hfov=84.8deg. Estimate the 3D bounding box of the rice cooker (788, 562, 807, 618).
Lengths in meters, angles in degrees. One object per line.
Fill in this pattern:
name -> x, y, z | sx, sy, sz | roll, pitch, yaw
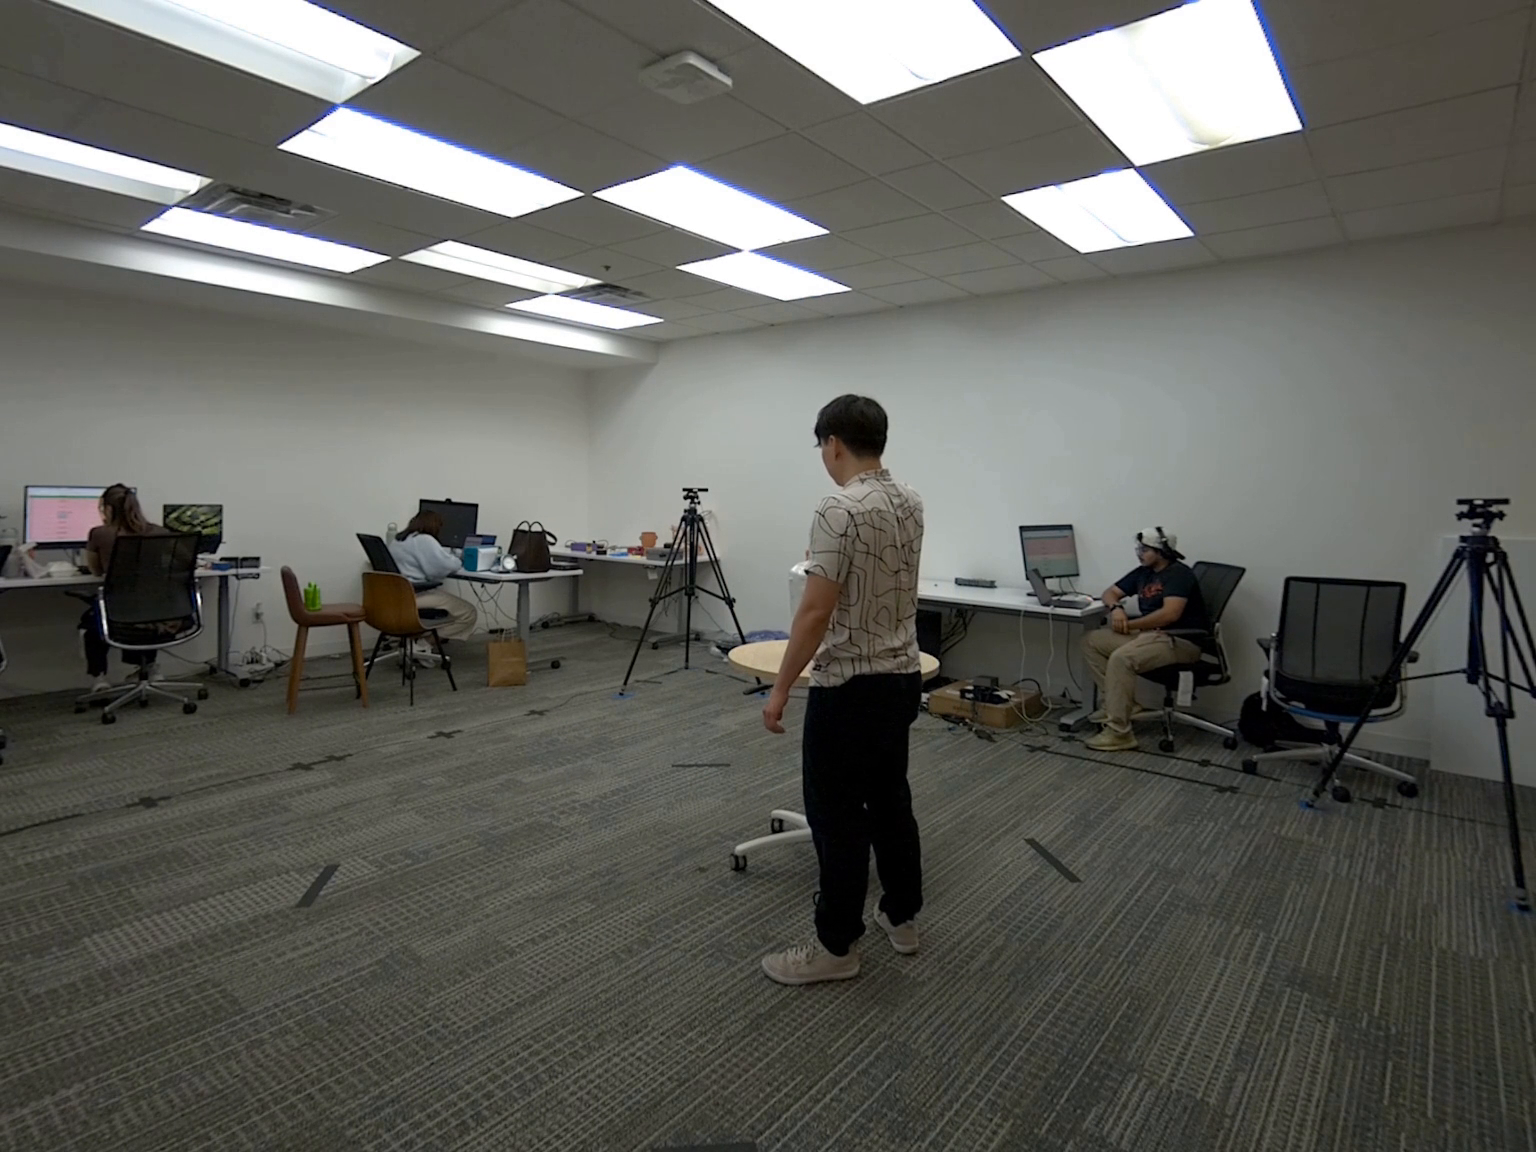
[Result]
rice cooker -> 0.178, 0.044, 3.024 | 0.224, 0.231, 0.215 | 1, 8, 37
